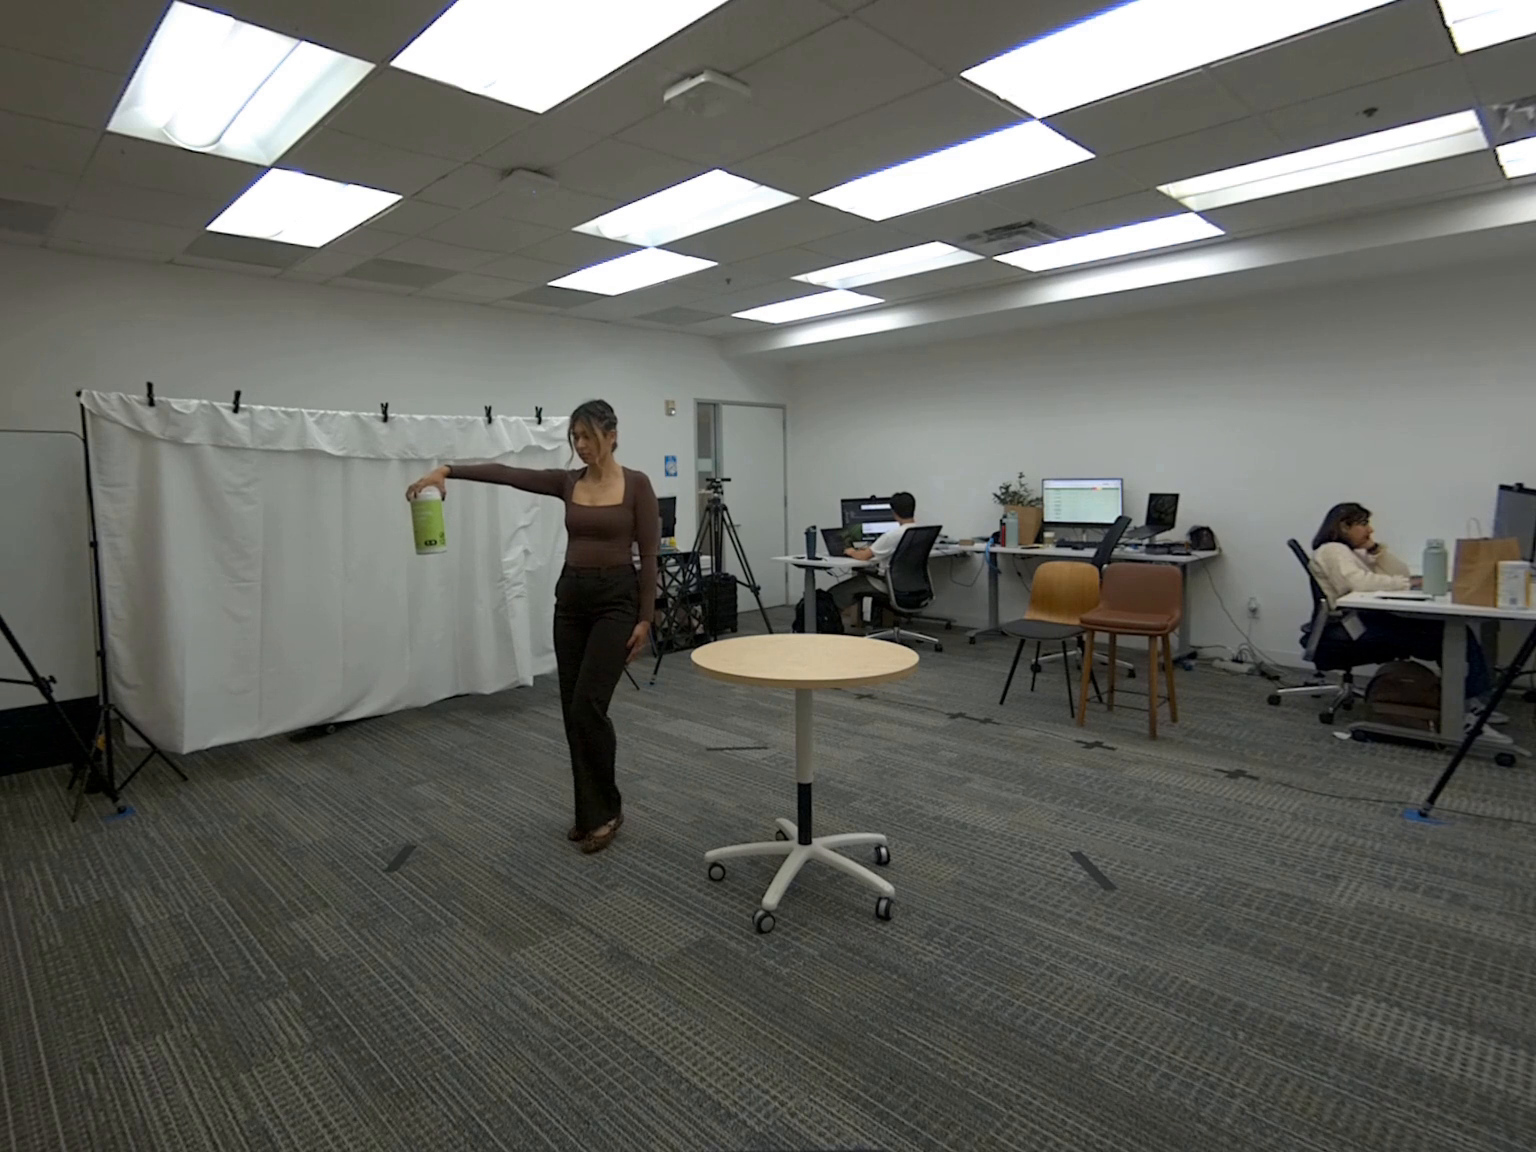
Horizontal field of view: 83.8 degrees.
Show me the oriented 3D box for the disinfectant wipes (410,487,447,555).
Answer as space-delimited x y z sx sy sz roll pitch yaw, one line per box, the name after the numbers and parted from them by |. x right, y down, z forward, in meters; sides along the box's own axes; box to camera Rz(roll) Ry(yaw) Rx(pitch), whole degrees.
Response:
-1.191 -0.186 3.006 0.118 0.217 0.118 -4 3 -1 | disinfectant wipes
